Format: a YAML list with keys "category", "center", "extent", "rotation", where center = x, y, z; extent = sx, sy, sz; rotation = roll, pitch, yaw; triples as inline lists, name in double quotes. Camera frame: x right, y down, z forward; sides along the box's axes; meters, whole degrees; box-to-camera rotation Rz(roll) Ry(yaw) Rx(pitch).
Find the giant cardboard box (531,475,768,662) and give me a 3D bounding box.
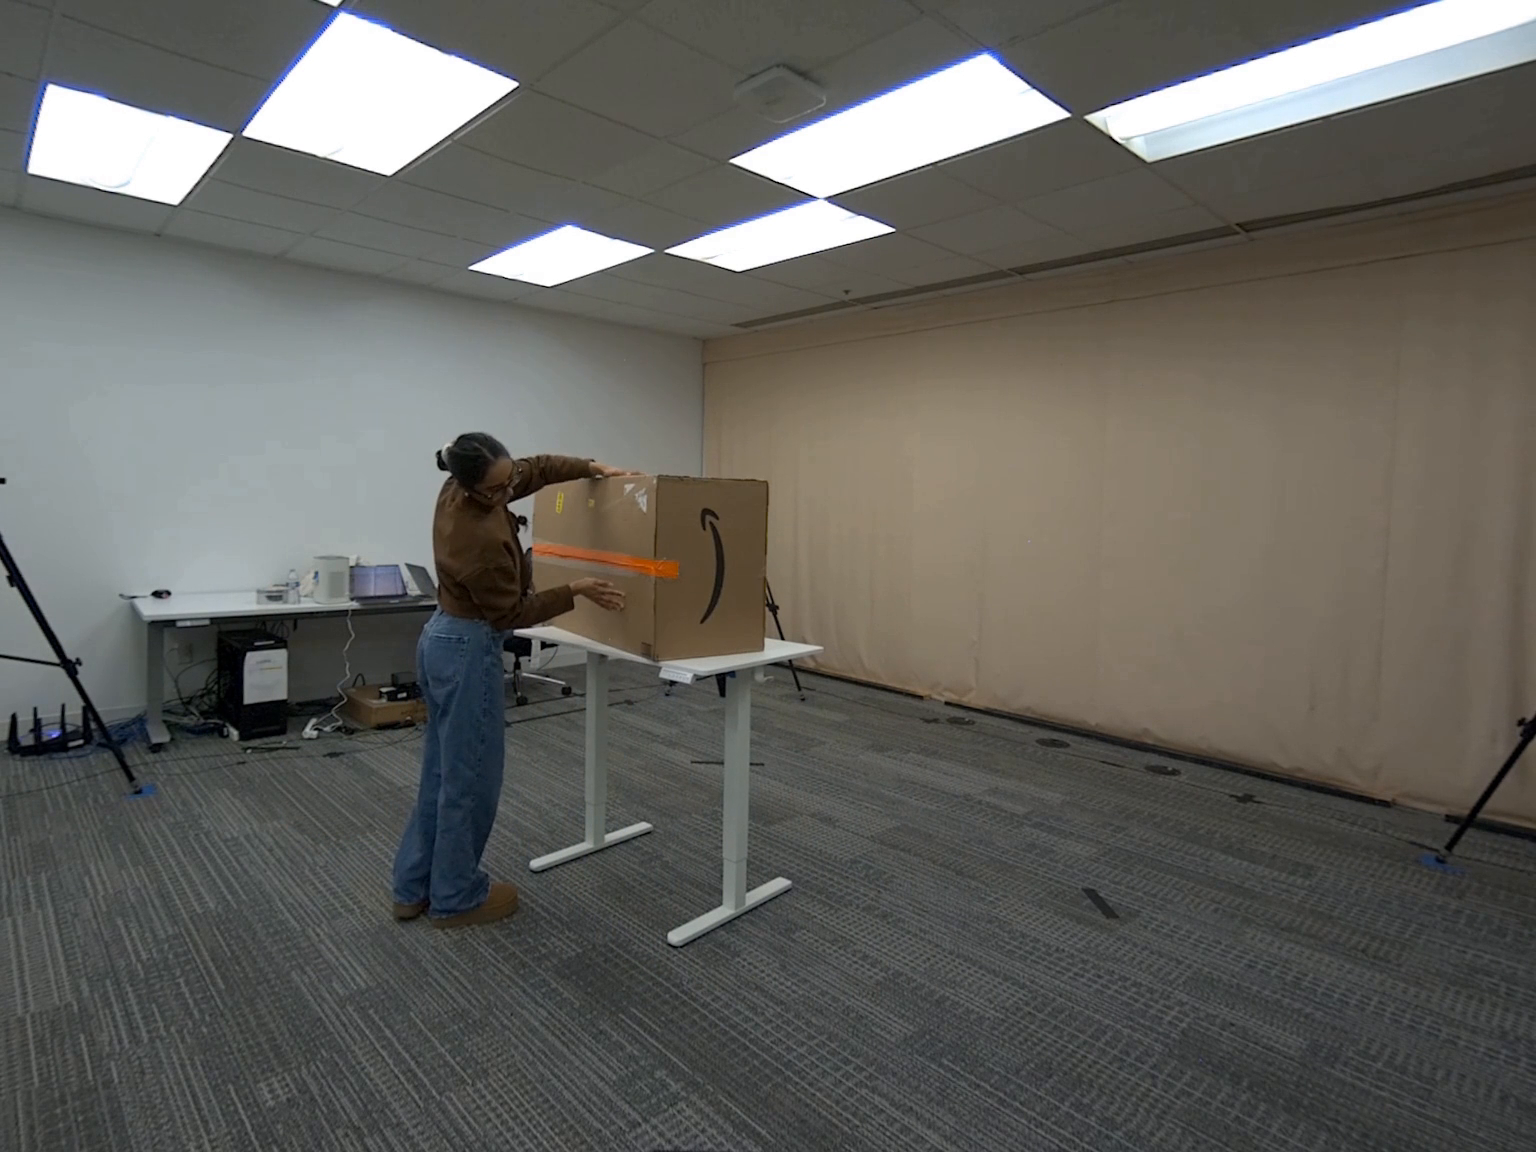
- category: "giant cardboard box"
  center: [-0.488, -0.064, 3.113]
  extent: [0.417, 0.576, 1.051]
  rotation: [0, 4, -36]
